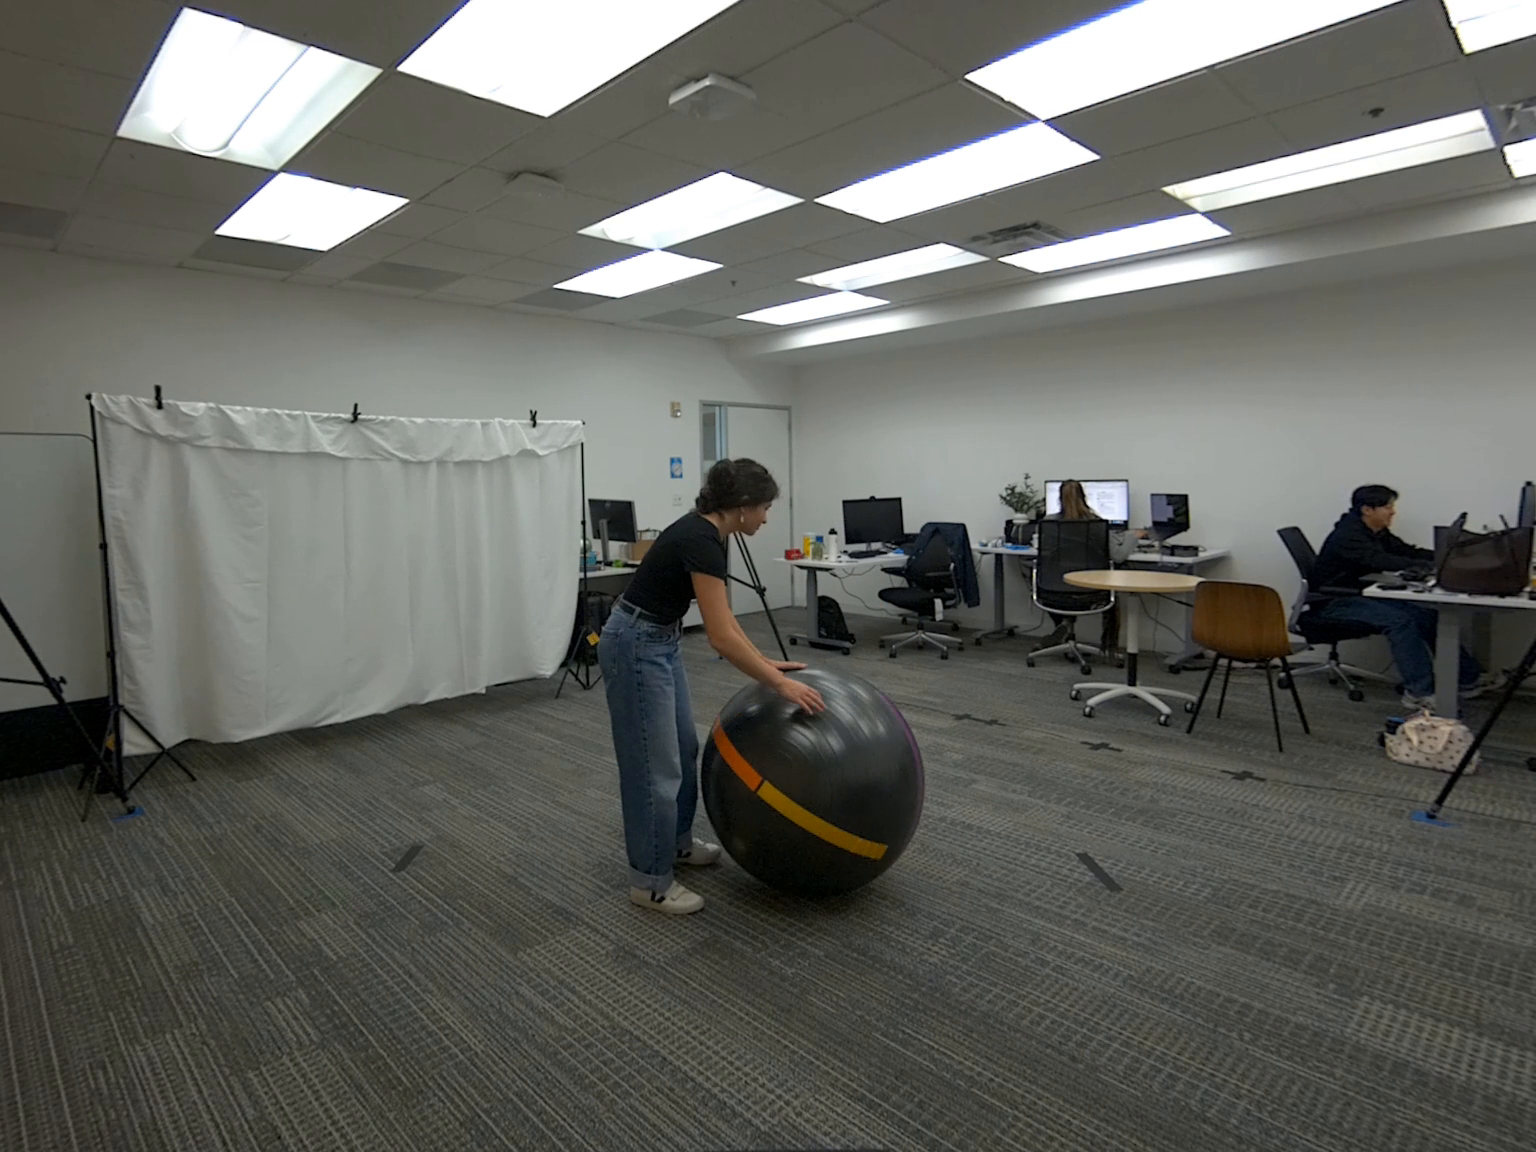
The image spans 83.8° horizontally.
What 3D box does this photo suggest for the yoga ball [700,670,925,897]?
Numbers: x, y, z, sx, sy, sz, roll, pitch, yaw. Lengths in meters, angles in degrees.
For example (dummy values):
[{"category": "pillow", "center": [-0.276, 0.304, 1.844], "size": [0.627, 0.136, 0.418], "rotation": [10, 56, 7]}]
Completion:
[{"category": "yoga ball", "center": [0.152, 0.693, 2.936], "size": [0.757, 0.755, 0.762], "rotation": [-1, 5, -2]}]
